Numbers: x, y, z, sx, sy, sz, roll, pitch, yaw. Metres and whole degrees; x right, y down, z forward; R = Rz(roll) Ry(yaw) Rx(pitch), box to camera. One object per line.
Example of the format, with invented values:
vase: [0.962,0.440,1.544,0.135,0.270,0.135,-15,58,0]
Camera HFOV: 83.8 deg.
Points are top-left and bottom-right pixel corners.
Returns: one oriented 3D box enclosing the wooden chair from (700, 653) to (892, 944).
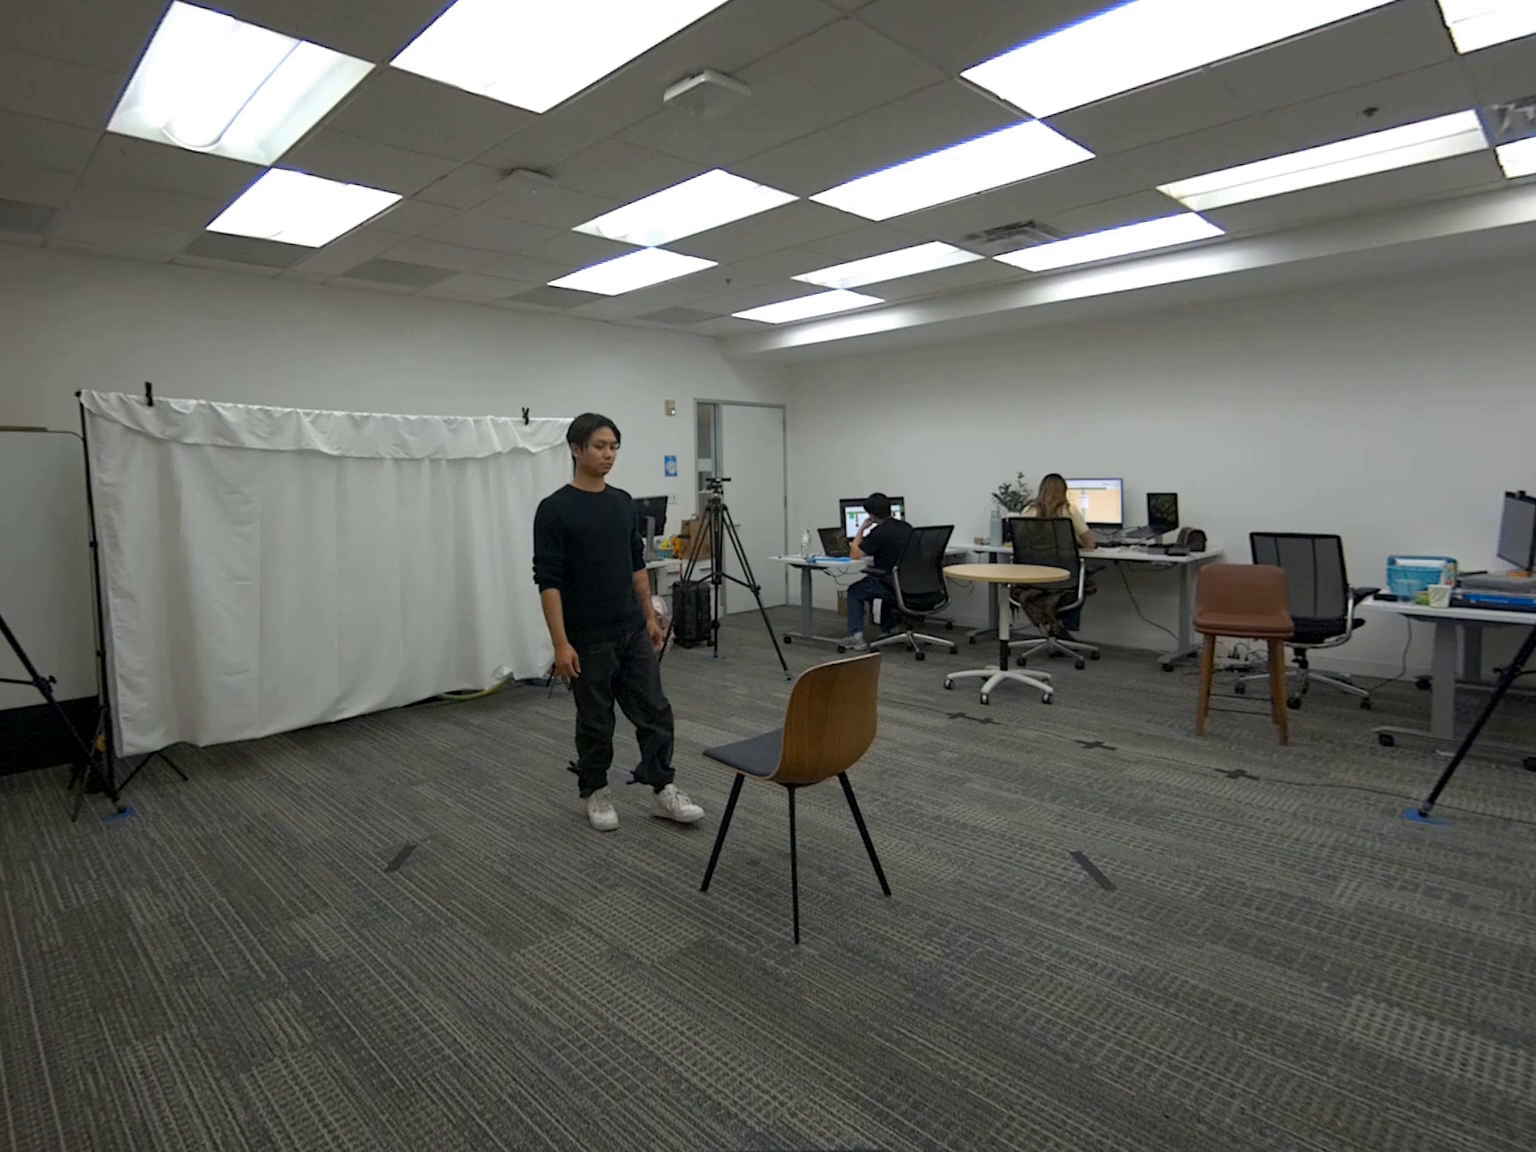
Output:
wooden chair: [0.081,0.642,2.844,0.465,0.871,0.541,-5,10,-42]
